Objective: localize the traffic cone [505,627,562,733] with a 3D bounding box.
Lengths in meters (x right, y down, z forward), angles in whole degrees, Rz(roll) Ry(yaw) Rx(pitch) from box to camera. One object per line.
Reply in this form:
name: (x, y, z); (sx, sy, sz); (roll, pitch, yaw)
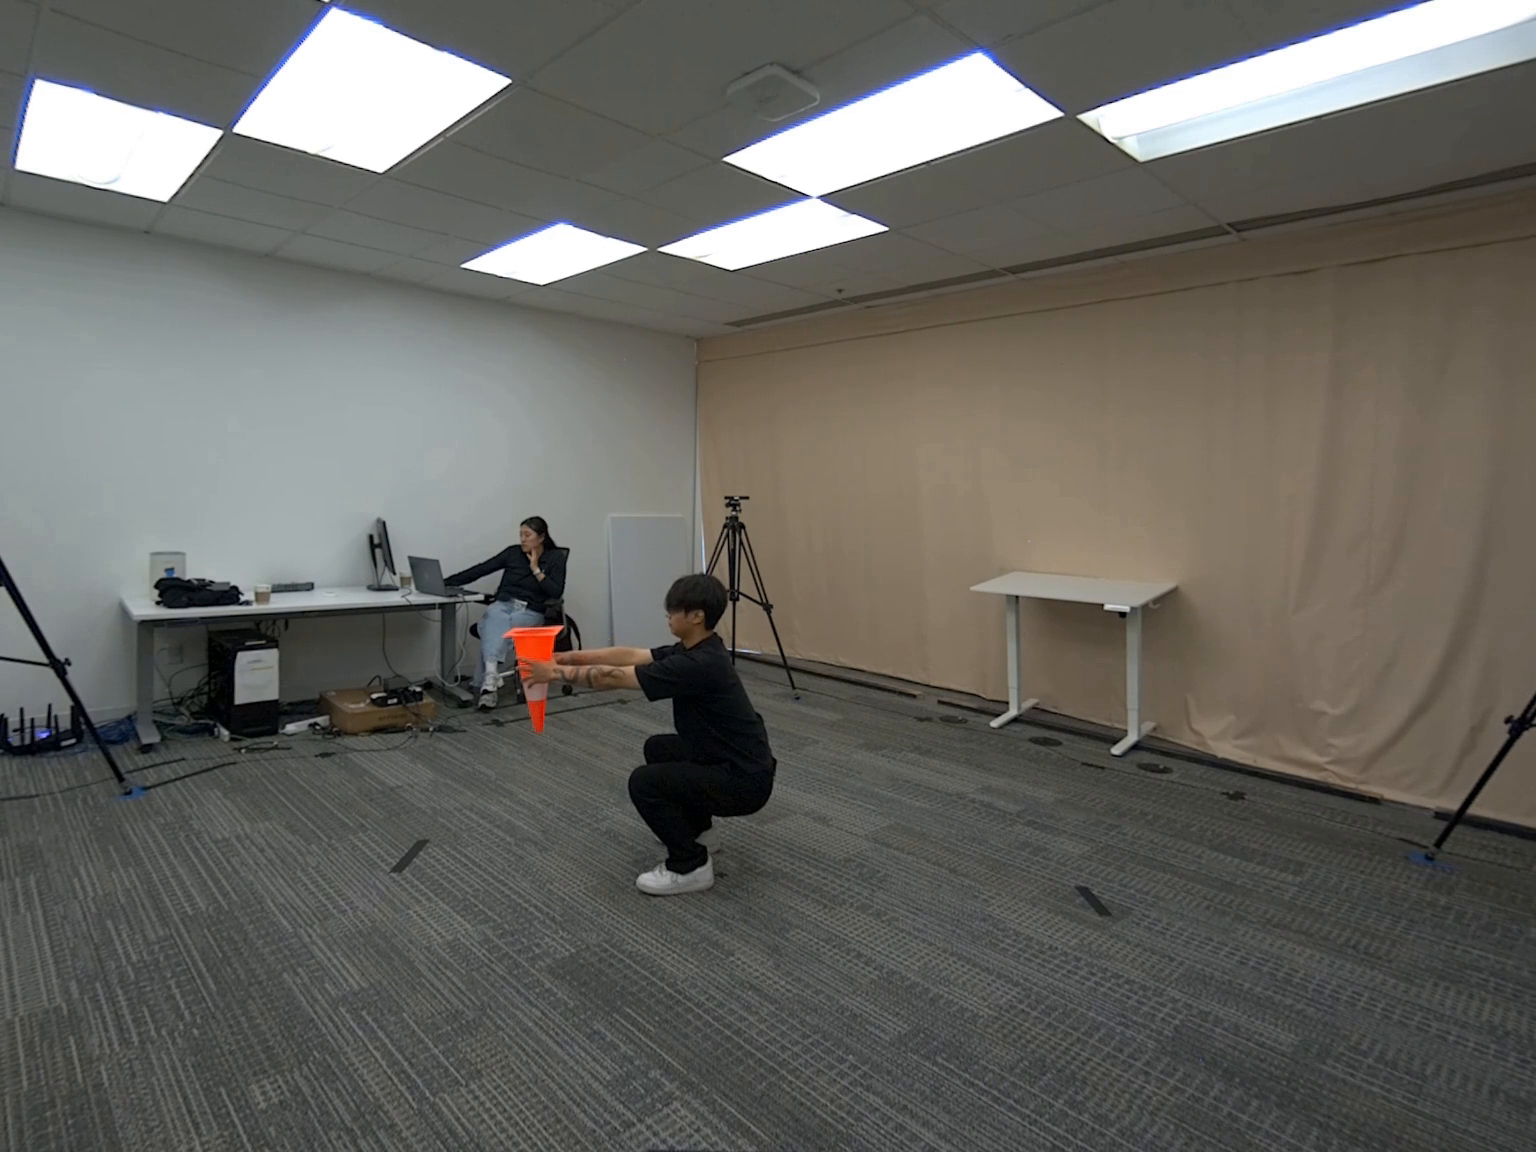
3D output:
traffic cone: (-0.885, 0.395, 3.170); (0.202, 0.382, 0.206); (-2, 5, -5)
